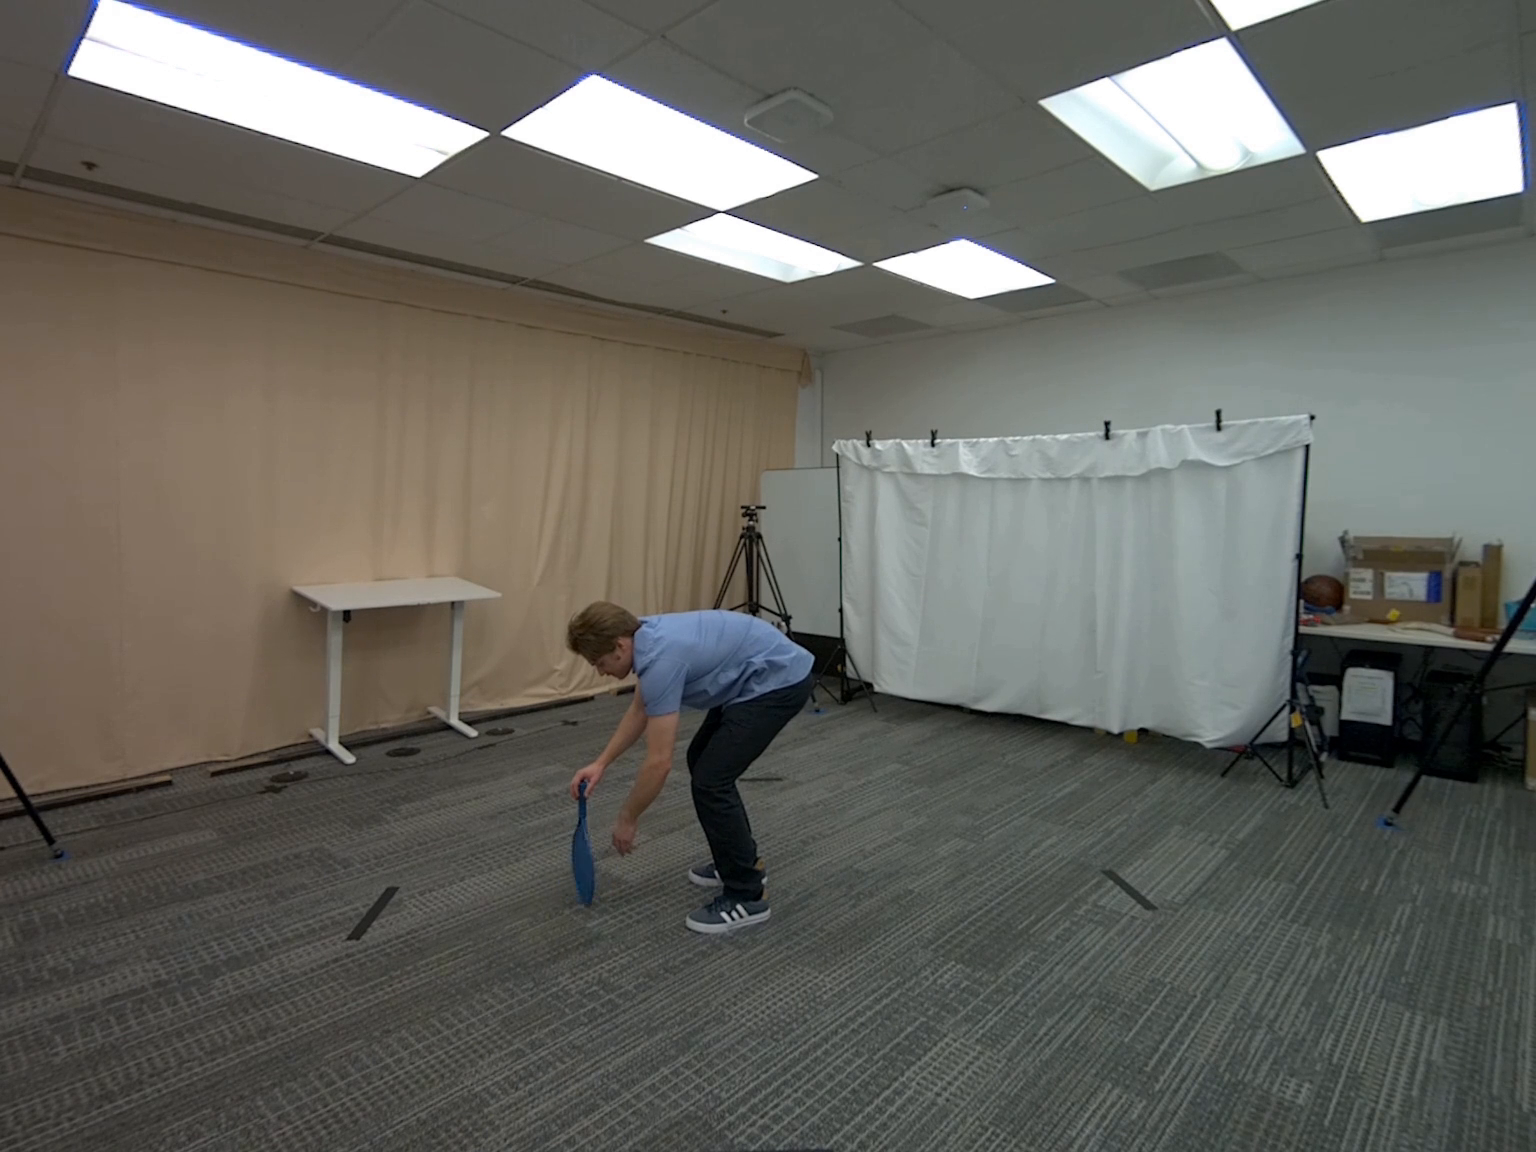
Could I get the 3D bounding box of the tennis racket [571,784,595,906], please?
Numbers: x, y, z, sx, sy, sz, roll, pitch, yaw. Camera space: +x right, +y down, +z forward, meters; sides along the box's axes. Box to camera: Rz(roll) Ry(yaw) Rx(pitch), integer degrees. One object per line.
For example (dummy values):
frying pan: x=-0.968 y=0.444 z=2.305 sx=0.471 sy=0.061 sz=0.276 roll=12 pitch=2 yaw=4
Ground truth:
tennis racket: x=-0.650 y=0.937 z=2.953 sx=0.031 sy=0.432 sz=0.220 roll=-2 pitch=2 yaw=-34
